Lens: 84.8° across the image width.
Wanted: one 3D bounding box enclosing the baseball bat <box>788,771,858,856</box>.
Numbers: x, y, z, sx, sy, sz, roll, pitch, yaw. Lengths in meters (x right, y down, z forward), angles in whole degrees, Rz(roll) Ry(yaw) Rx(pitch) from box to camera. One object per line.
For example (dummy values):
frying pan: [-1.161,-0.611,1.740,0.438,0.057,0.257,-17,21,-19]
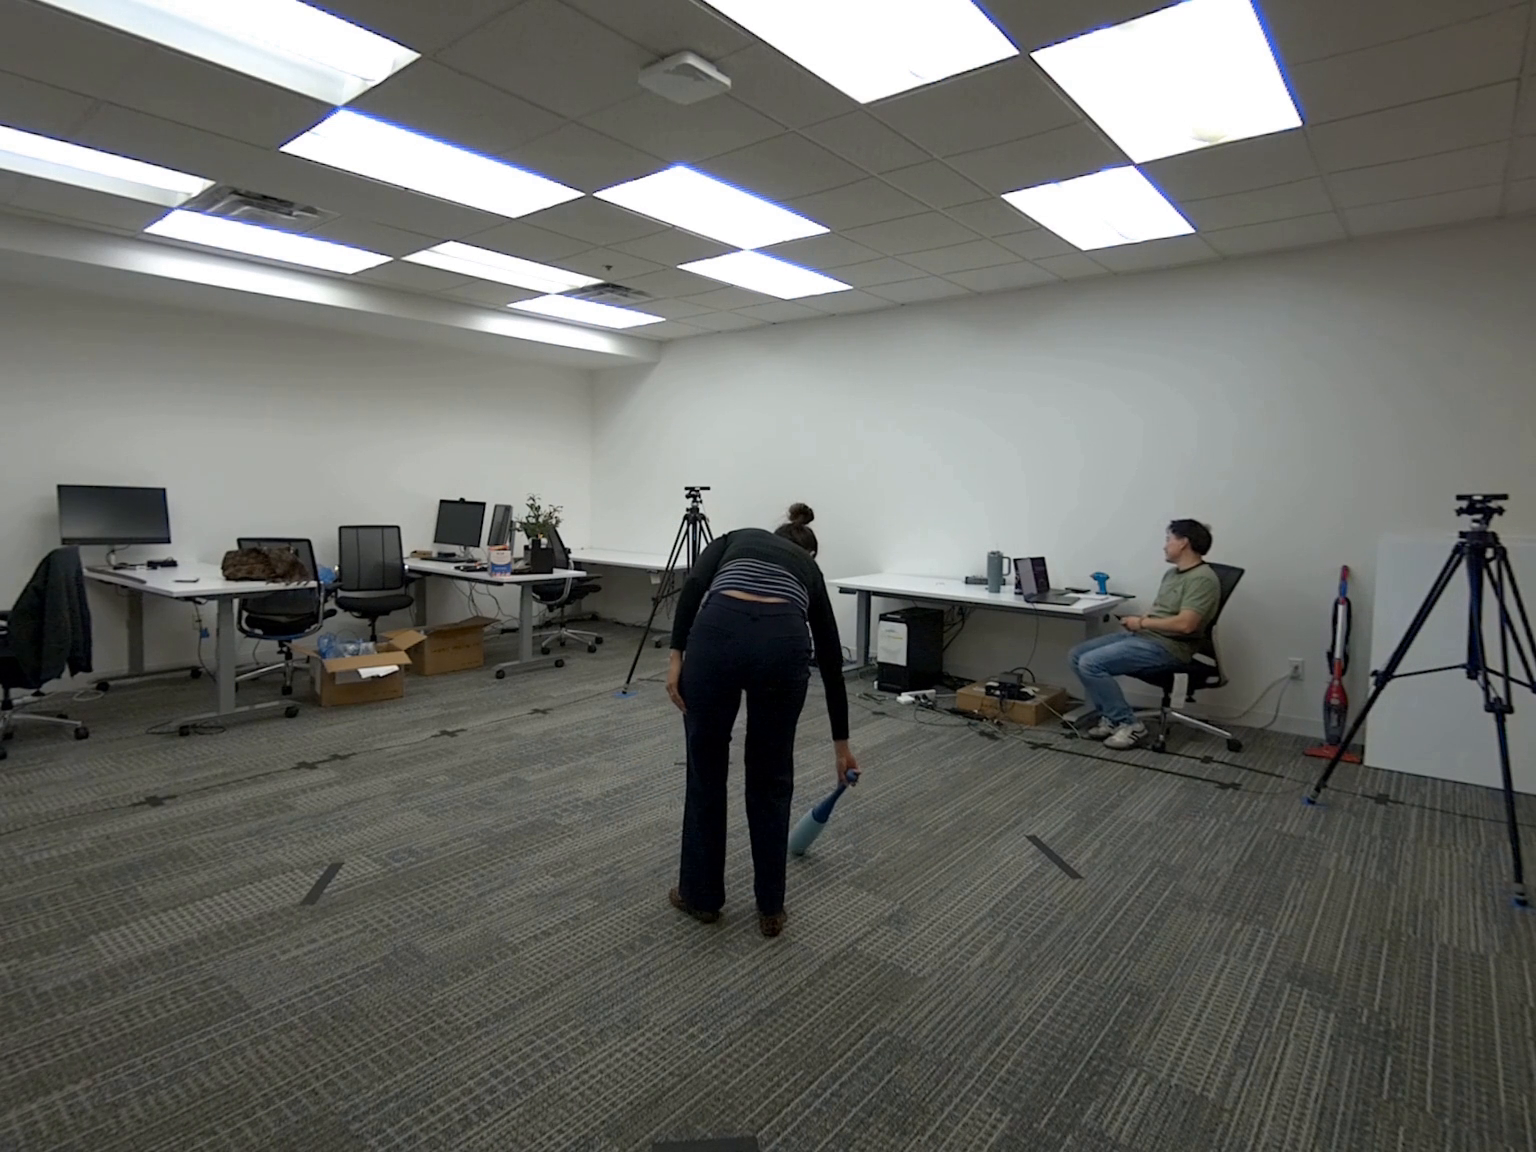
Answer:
baseball bat: [0.181,0.857,3.092,0.087,0.536,0.092,14,44,-15]
